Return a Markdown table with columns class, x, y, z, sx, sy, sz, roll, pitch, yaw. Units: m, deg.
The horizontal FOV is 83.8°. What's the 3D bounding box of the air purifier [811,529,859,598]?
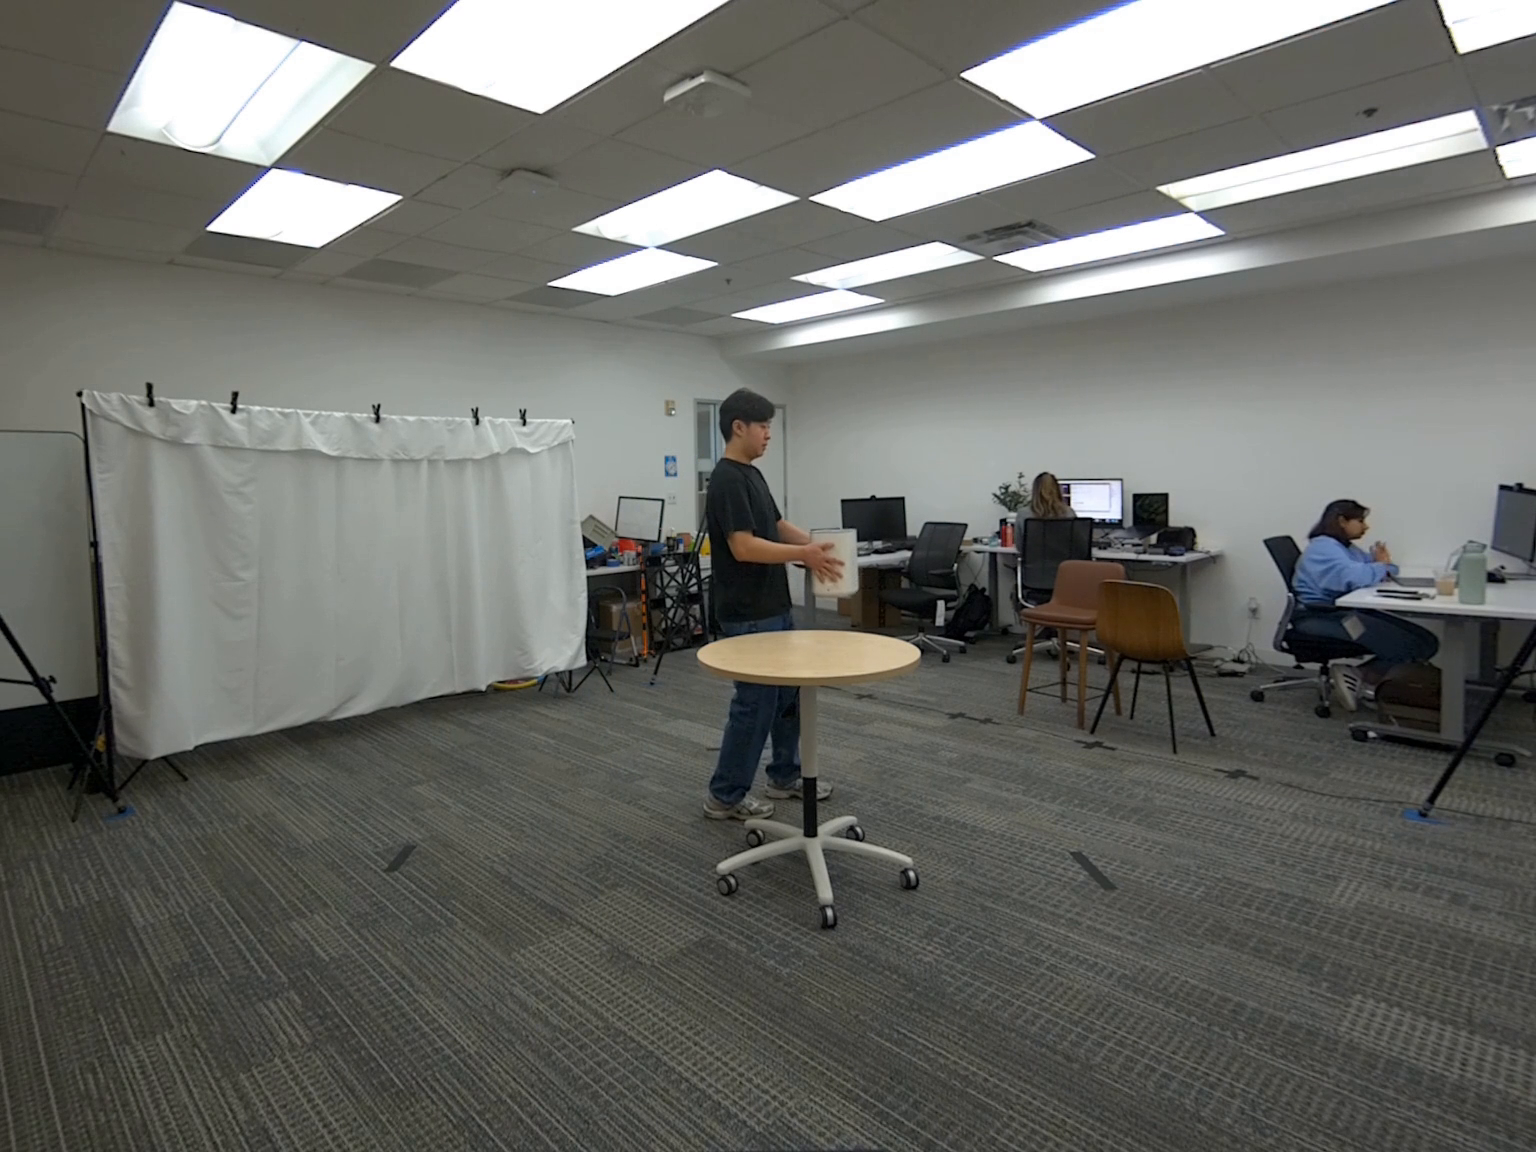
| class | x | y | z | sx | sy | sz | roll | pitch | yaw |
| --- | --- | --- | --- | --- | --- | --- | --- | --- | --- |
| air purifier | 0.263 | -0.051 | 3.446 | 0.174 | 0.264 | 0.169 | 1 | 4 | 21 |
